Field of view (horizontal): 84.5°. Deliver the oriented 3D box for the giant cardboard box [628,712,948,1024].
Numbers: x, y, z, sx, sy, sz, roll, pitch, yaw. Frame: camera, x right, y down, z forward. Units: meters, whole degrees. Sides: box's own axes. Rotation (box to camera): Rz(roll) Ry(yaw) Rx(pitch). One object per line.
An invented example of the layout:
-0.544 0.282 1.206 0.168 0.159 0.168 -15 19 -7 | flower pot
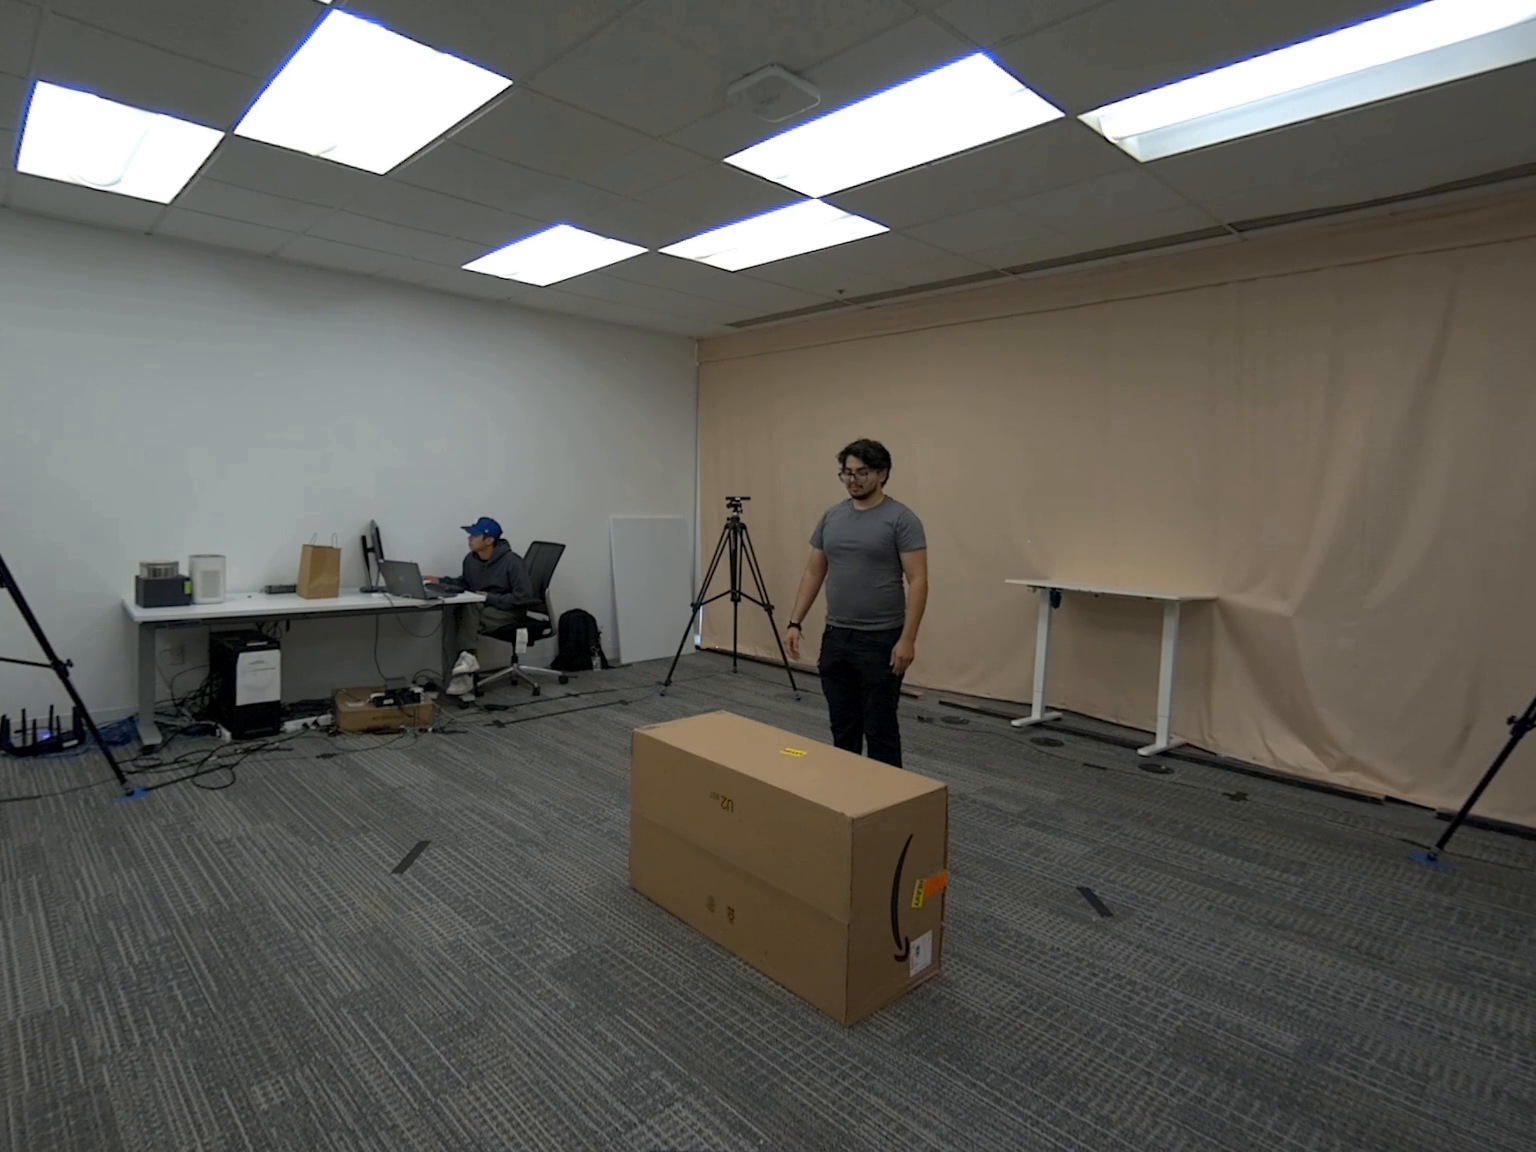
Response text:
0.011 0.860 2.723 0.416 0.576 1.052 -2 6 -41 | giant cardboard box
